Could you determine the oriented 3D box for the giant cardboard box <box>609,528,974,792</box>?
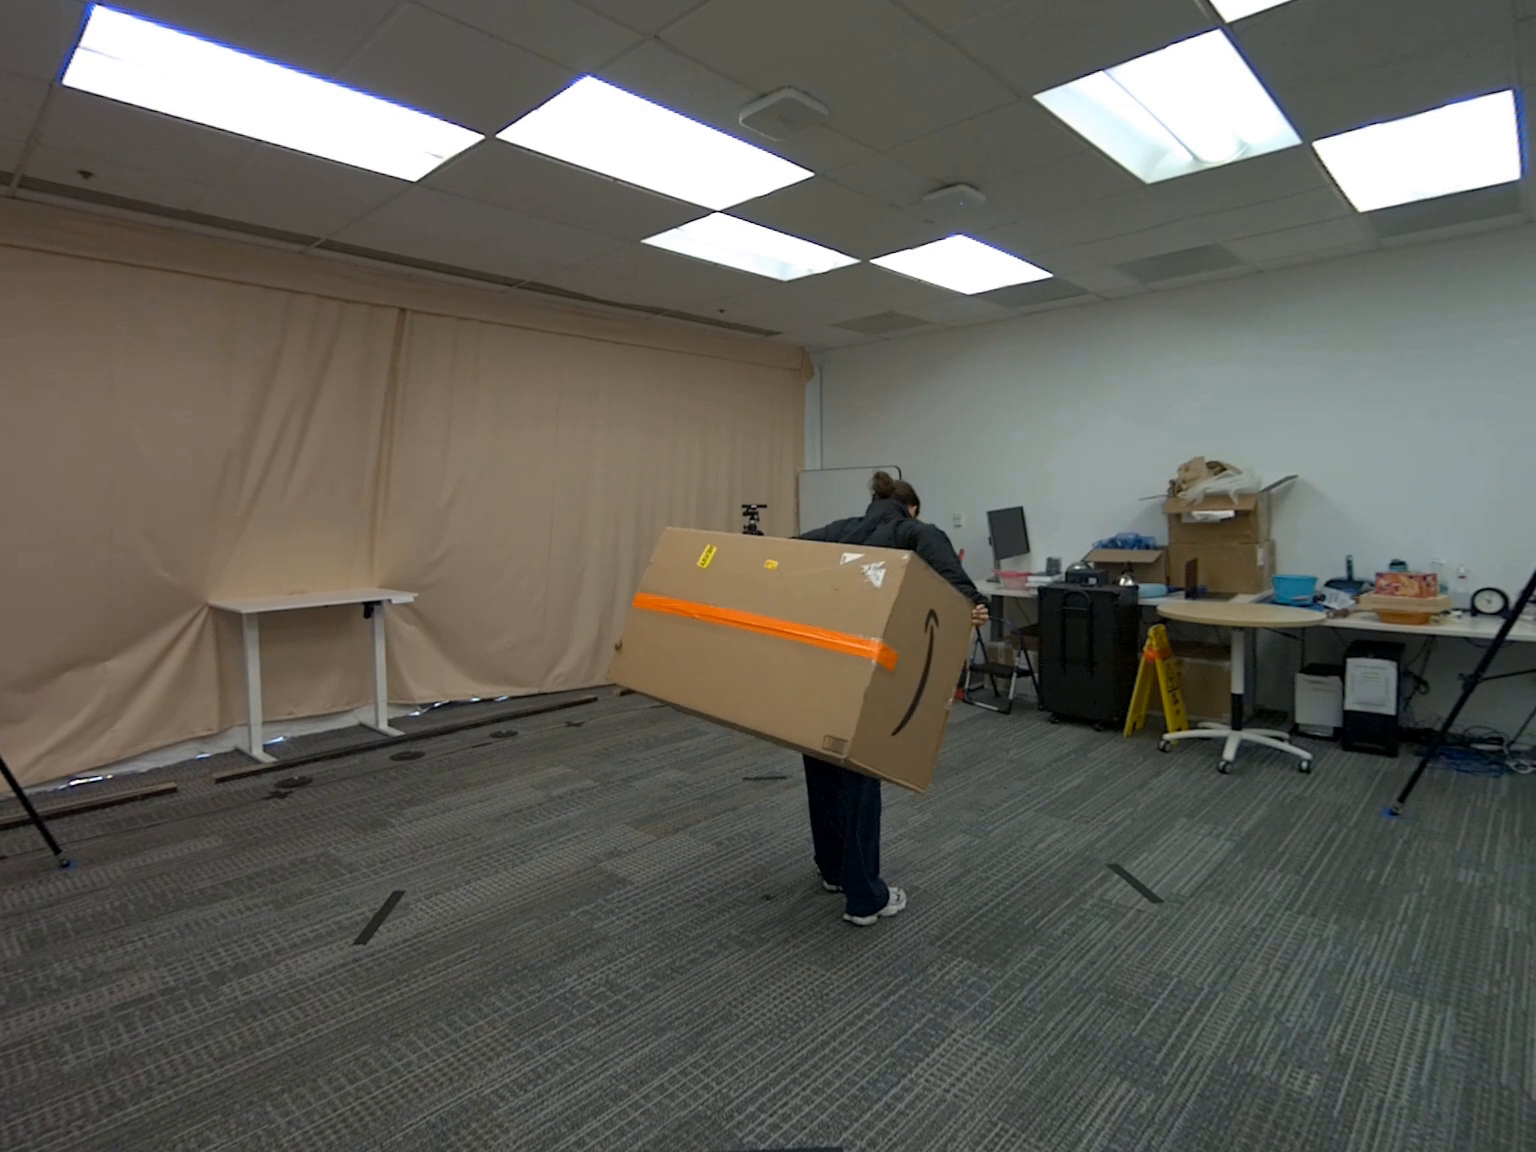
[{"bbox_3d":[0.049,0.227,2.679,1.061,0.579,0.410,8,-17,44],"label":"giant cardboard box"}]
